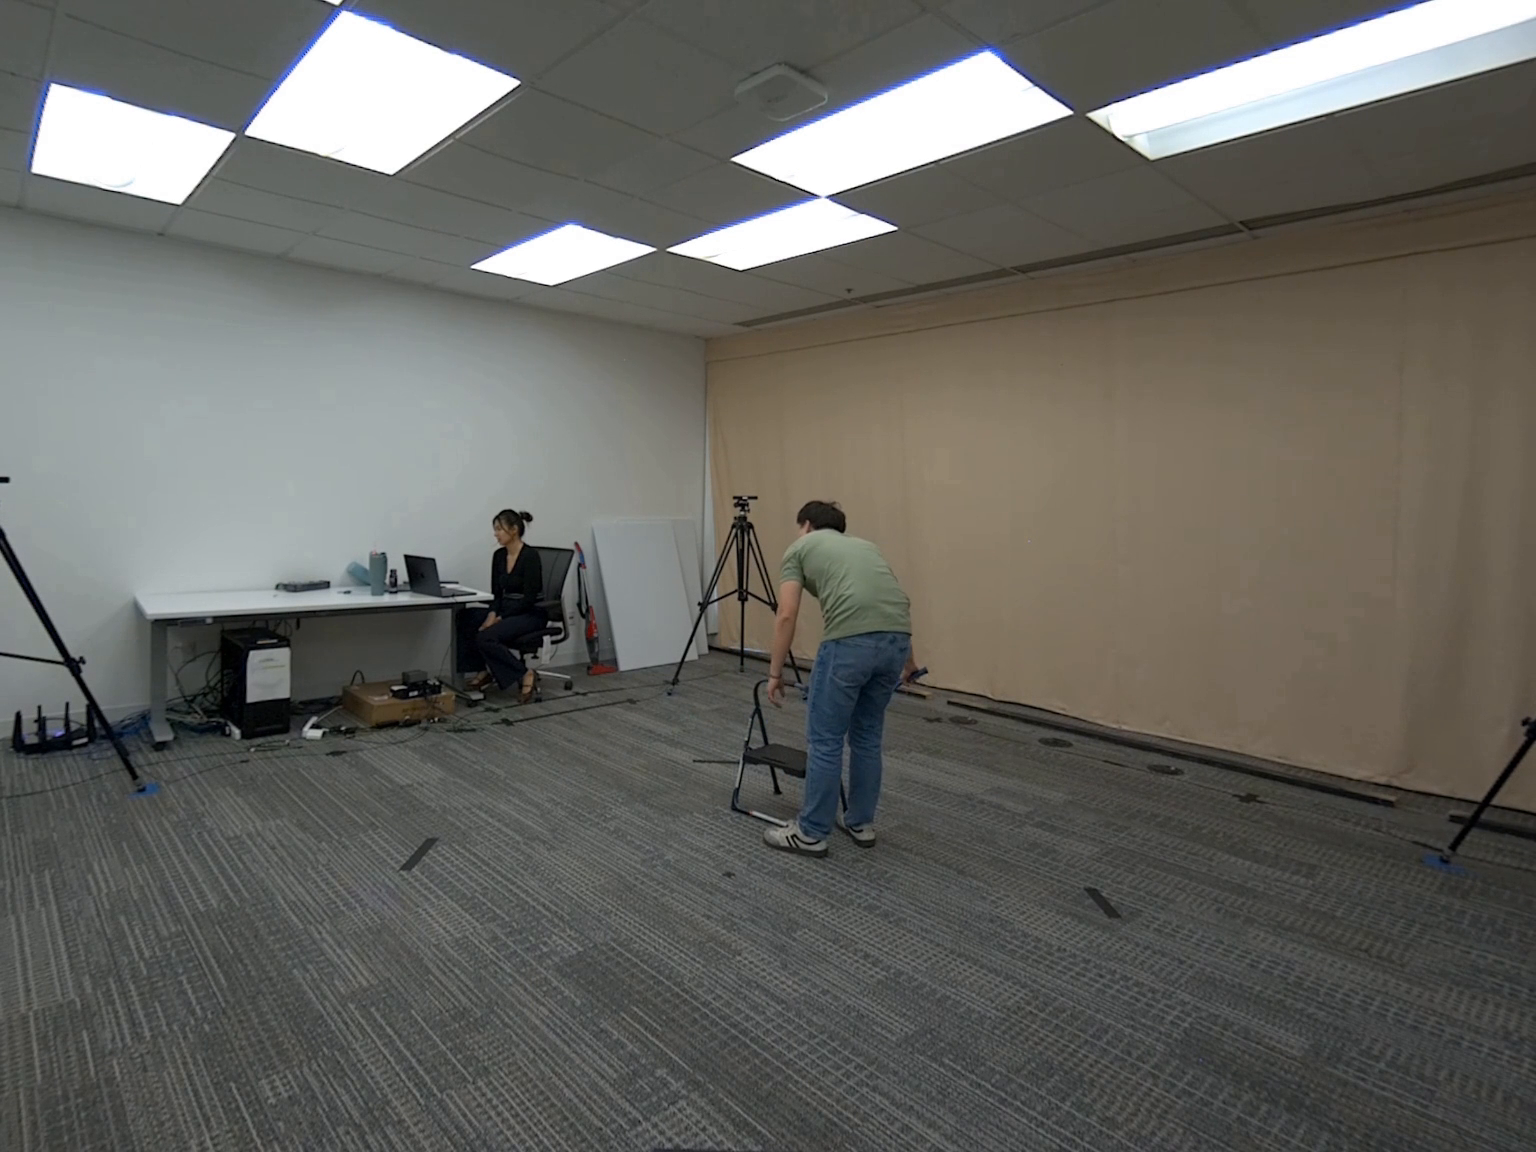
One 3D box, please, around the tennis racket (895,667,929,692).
[{"bbox_3d":[0.516,0.527,3.831,0.434,0.031,0.216,-25,18,9],"label":"tennis racket"}]
